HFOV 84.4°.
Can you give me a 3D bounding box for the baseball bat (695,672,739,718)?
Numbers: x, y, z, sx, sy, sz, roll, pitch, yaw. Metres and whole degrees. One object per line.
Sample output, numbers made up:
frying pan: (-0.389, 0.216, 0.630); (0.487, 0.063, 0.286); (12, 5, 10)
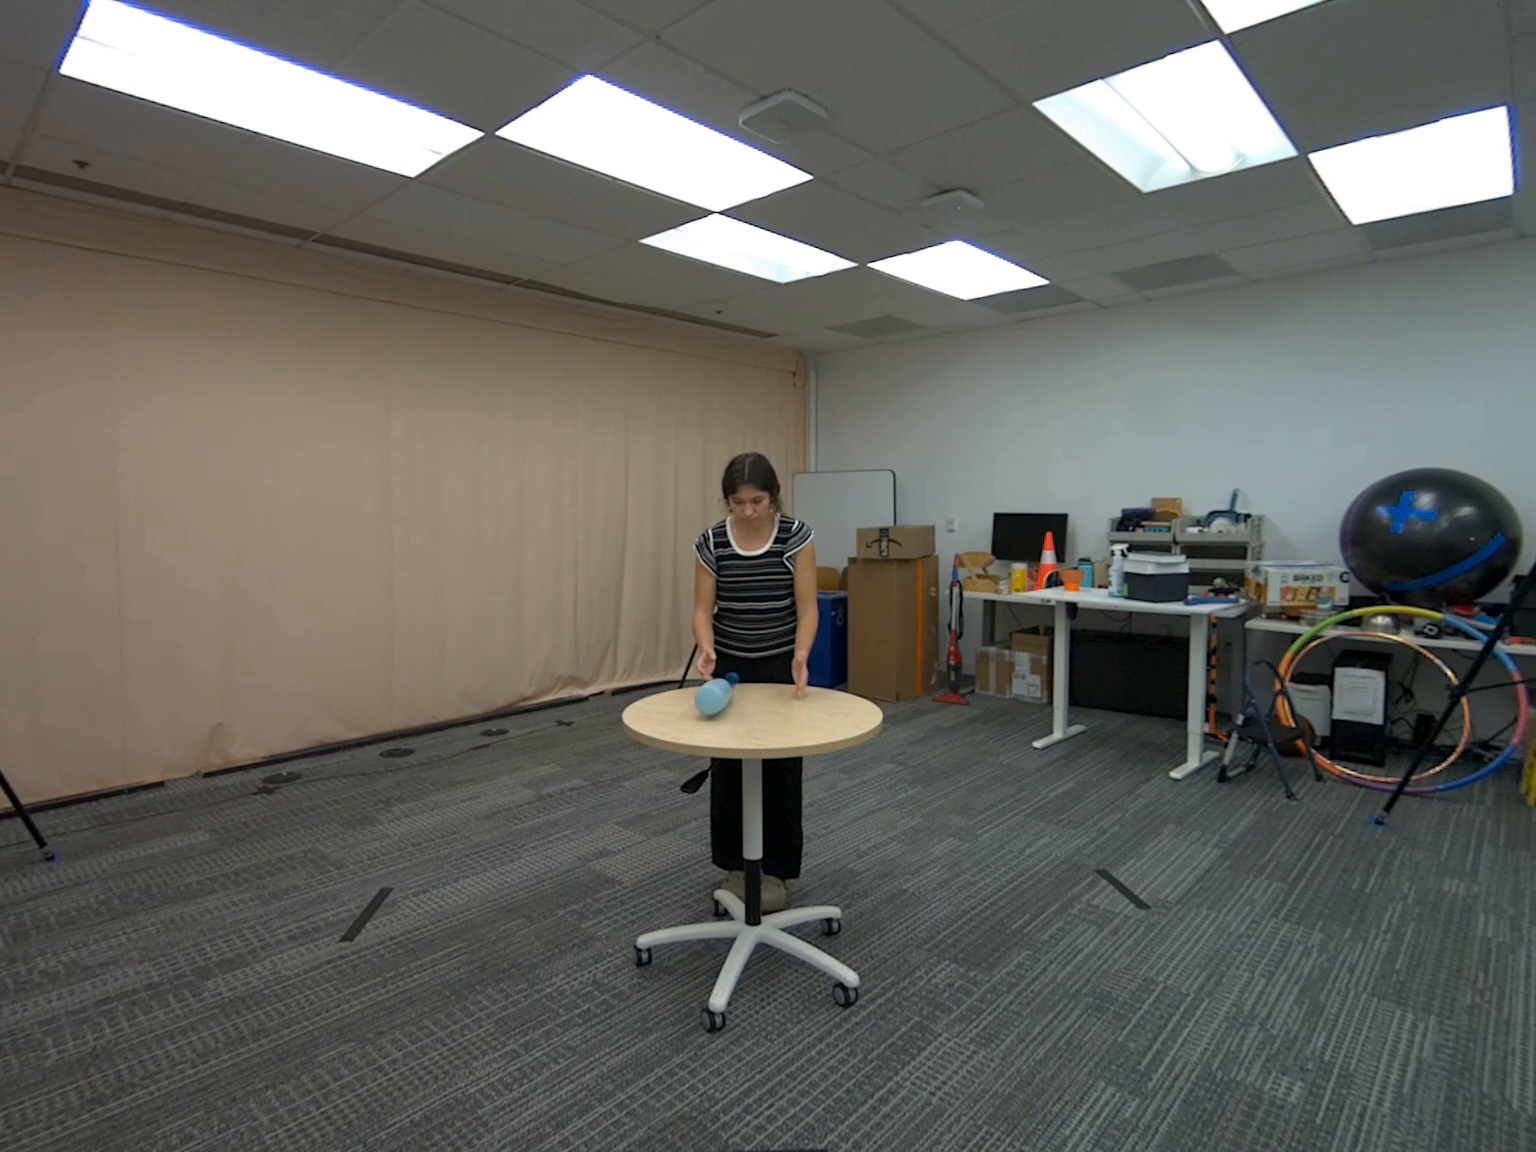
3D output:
baseball bat: (-0.129, 0.355, 2.649); (0.090, 0.089, 0.538); (0, -1, 6)
